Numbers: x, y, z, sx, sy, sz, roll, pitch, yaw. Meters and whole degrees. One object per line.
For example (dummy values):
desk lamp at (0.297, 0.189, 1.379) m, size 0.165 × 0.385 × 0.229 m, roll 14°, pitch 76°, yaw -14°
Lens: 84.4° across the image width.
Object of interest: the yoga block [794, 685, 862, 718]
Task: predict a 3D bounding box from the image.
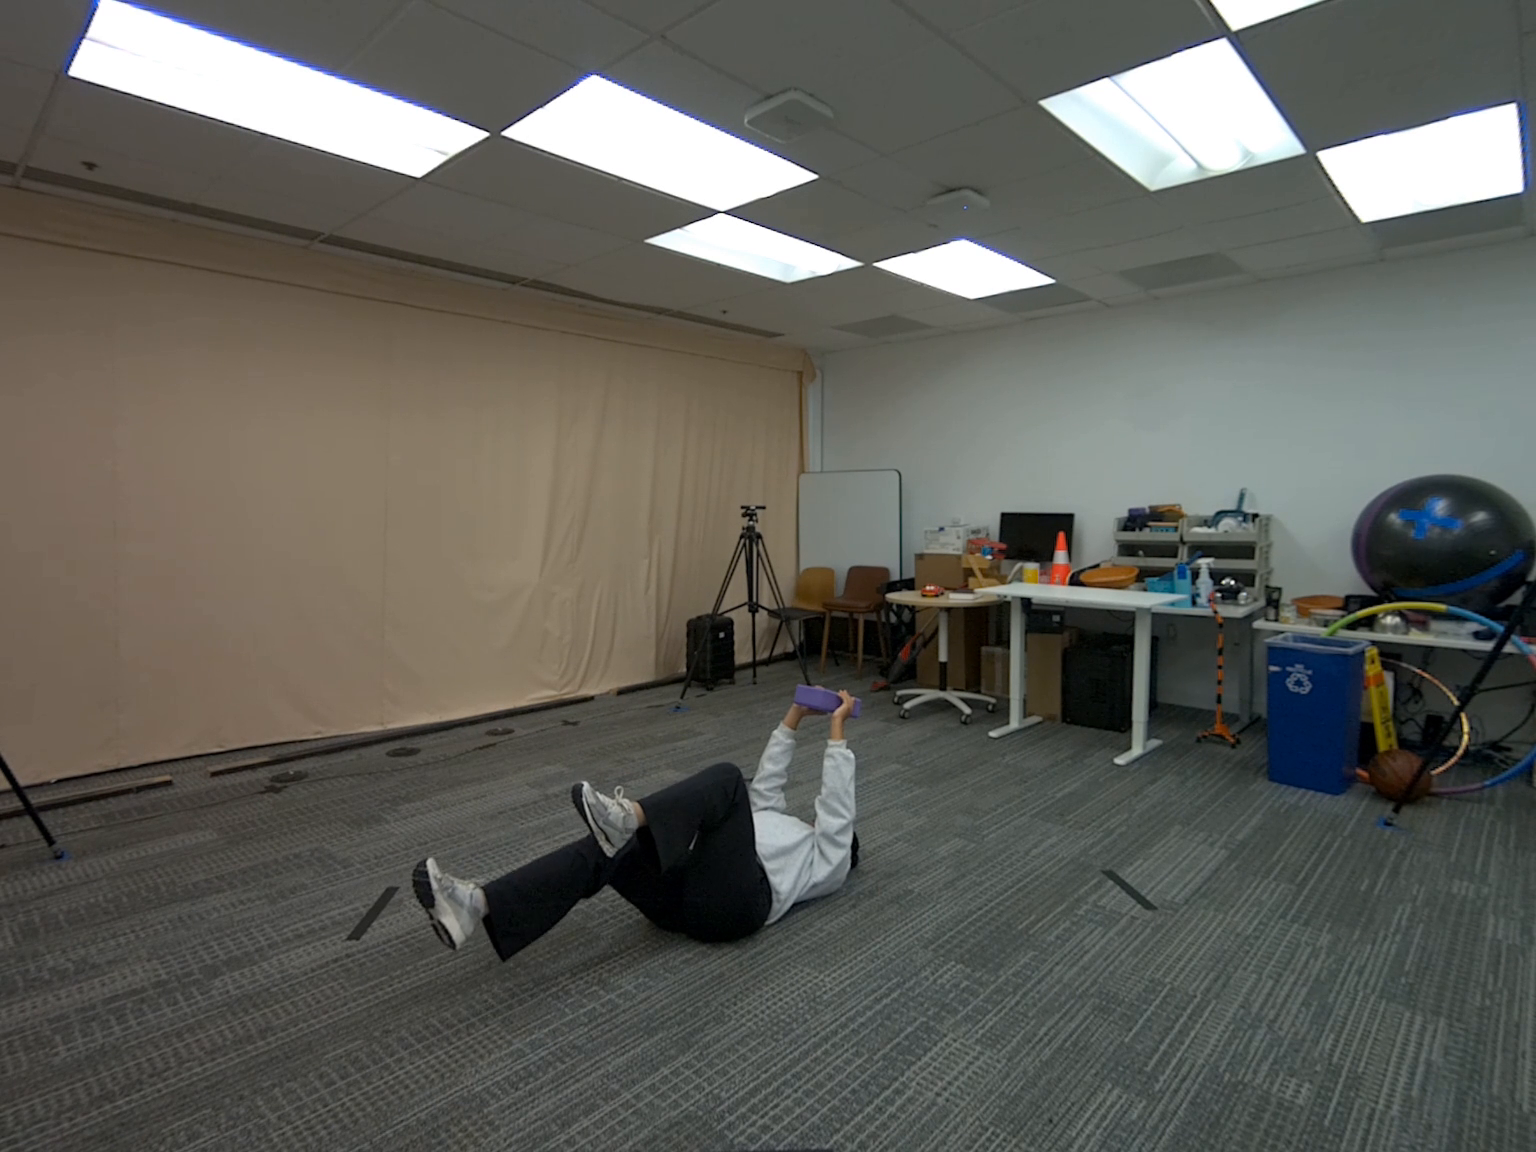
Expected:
yoga block at (0.235, 0.482, 3.227) m, size 0.154 × 0.077 × 0.221 m, roll 4°, pitch -12°, yaw 44°
